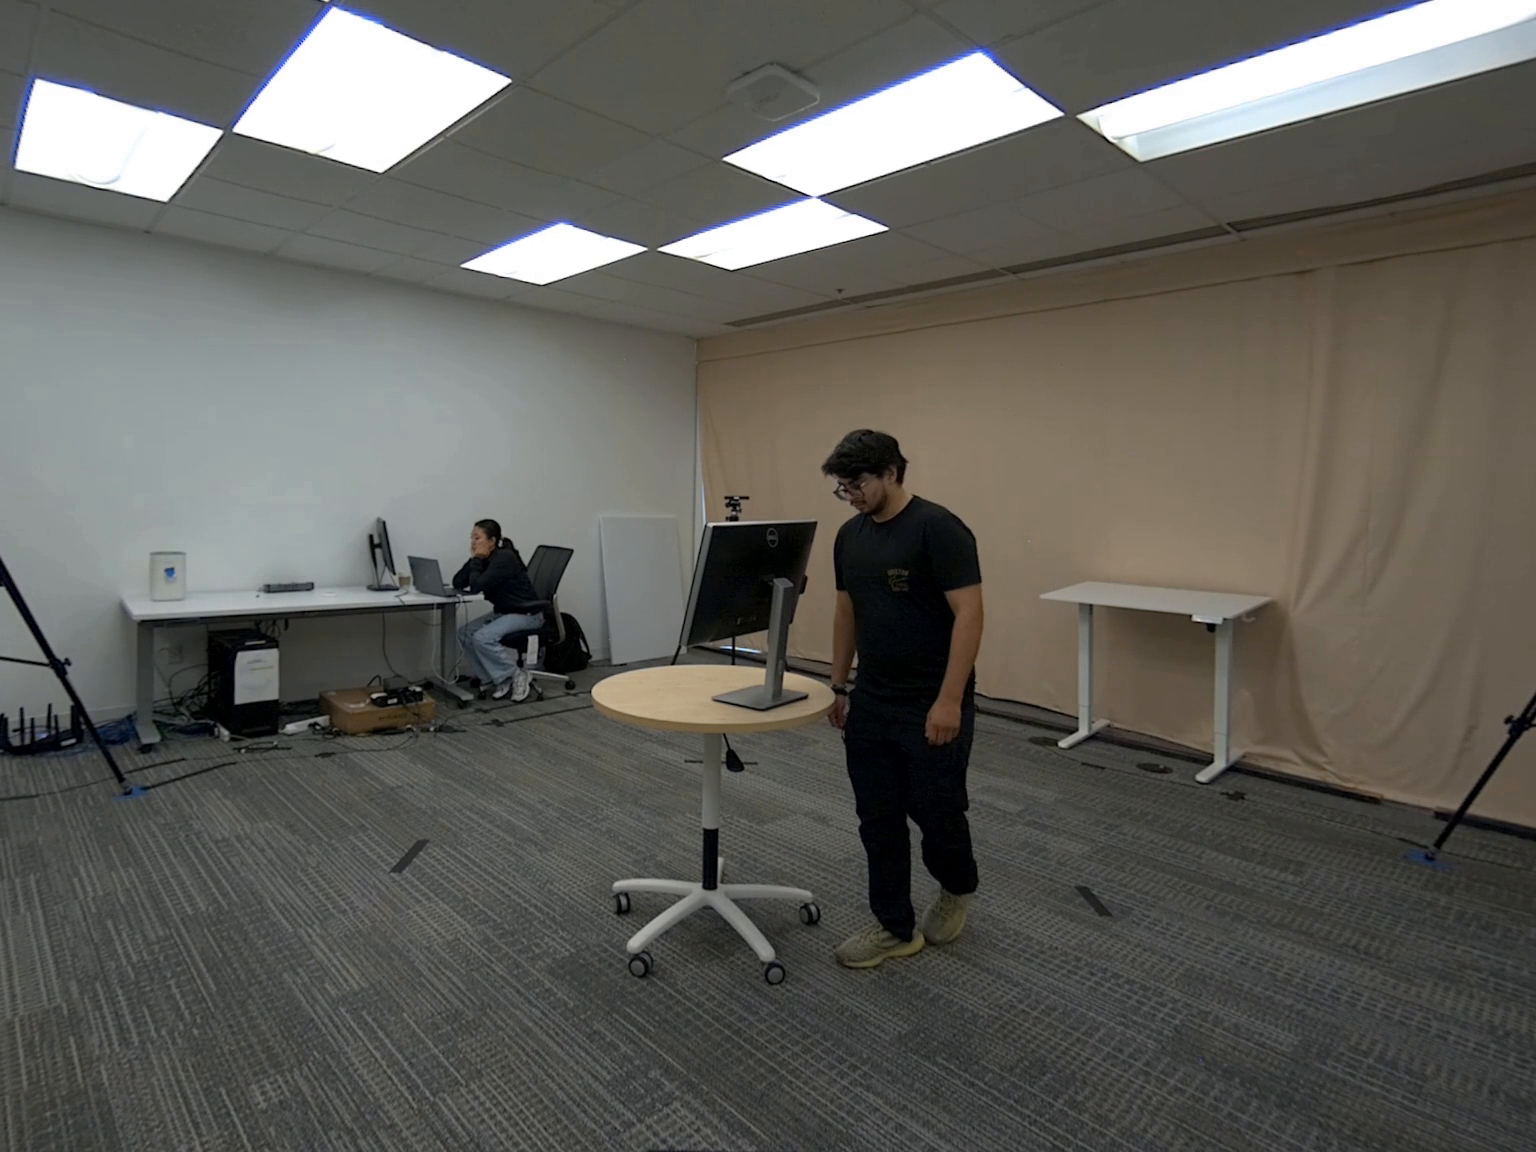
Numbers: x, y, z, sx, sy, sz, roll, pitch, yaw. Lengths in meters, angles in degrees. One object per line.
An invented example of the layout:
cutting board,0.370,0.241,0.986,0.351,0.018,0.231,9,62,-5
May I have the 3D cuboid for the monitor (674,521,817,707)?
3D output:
monitor,0.001,0.113,2.531,0.216,0.551,0.553,12,10,35
